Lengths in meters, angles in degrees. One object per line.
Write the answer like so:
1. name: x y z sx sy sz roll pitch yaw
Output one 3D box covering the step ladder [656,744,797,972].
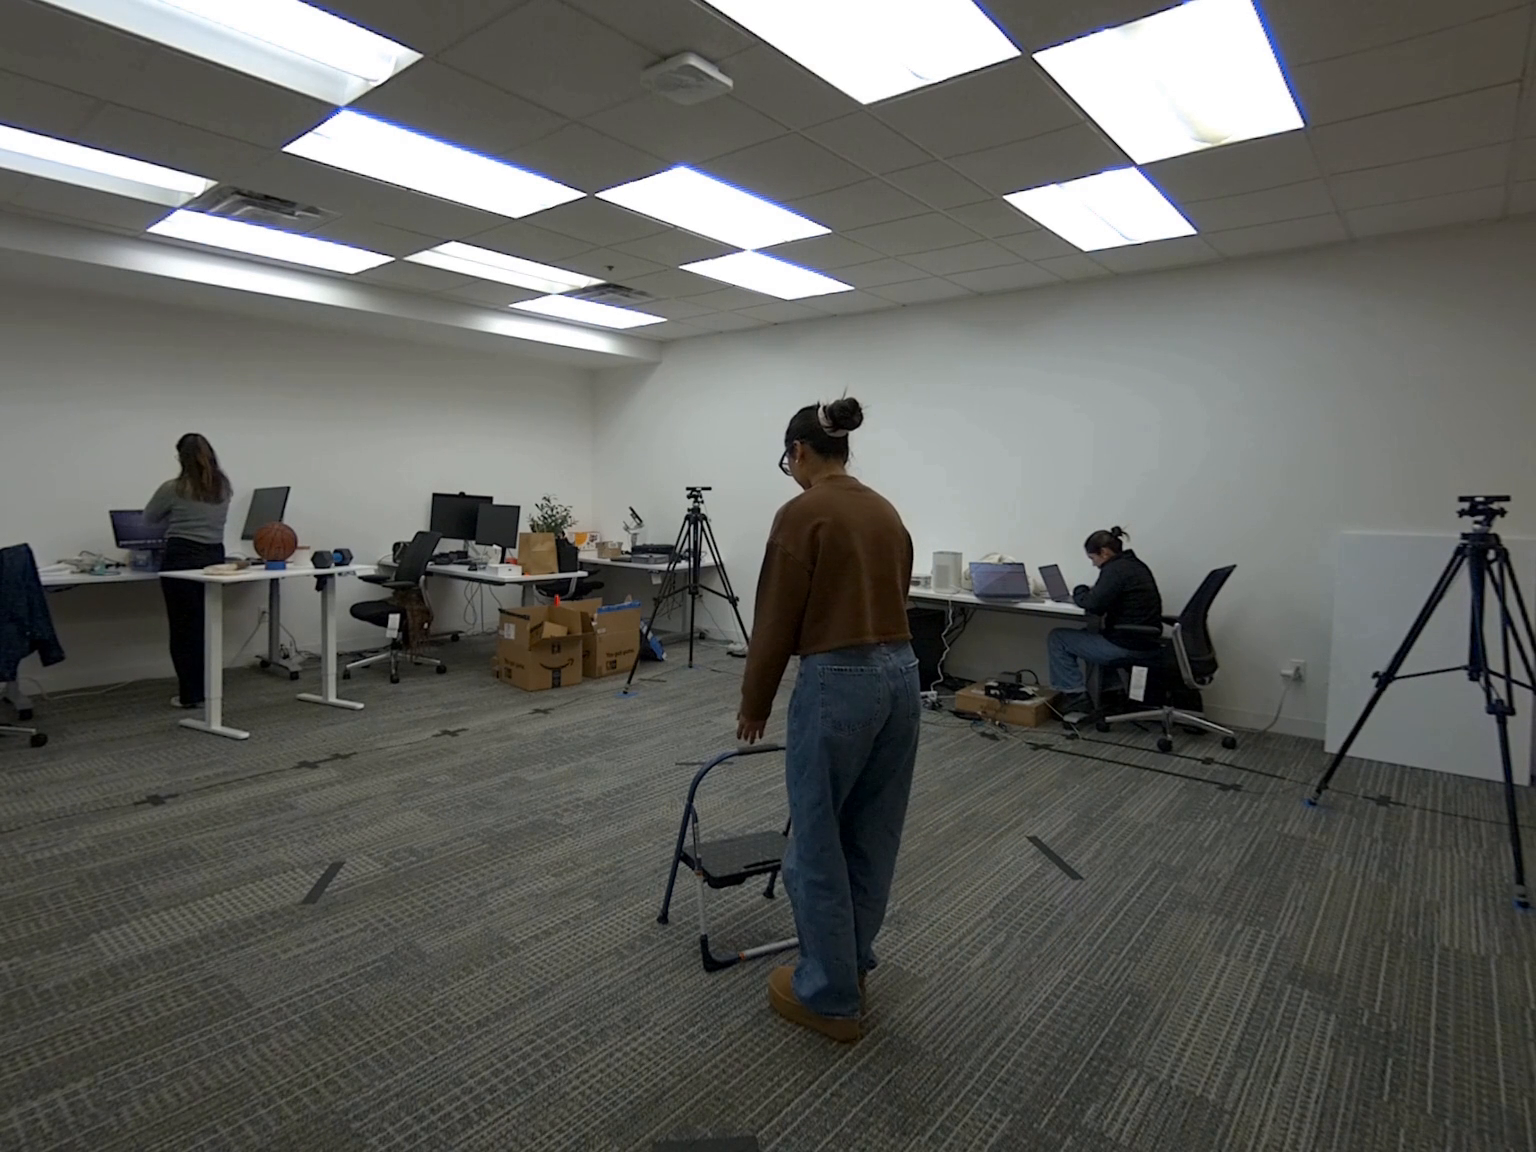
1. step ladder: -0.093 0.808 2.663 0.419 0.604 0.360 -1 4 -30
